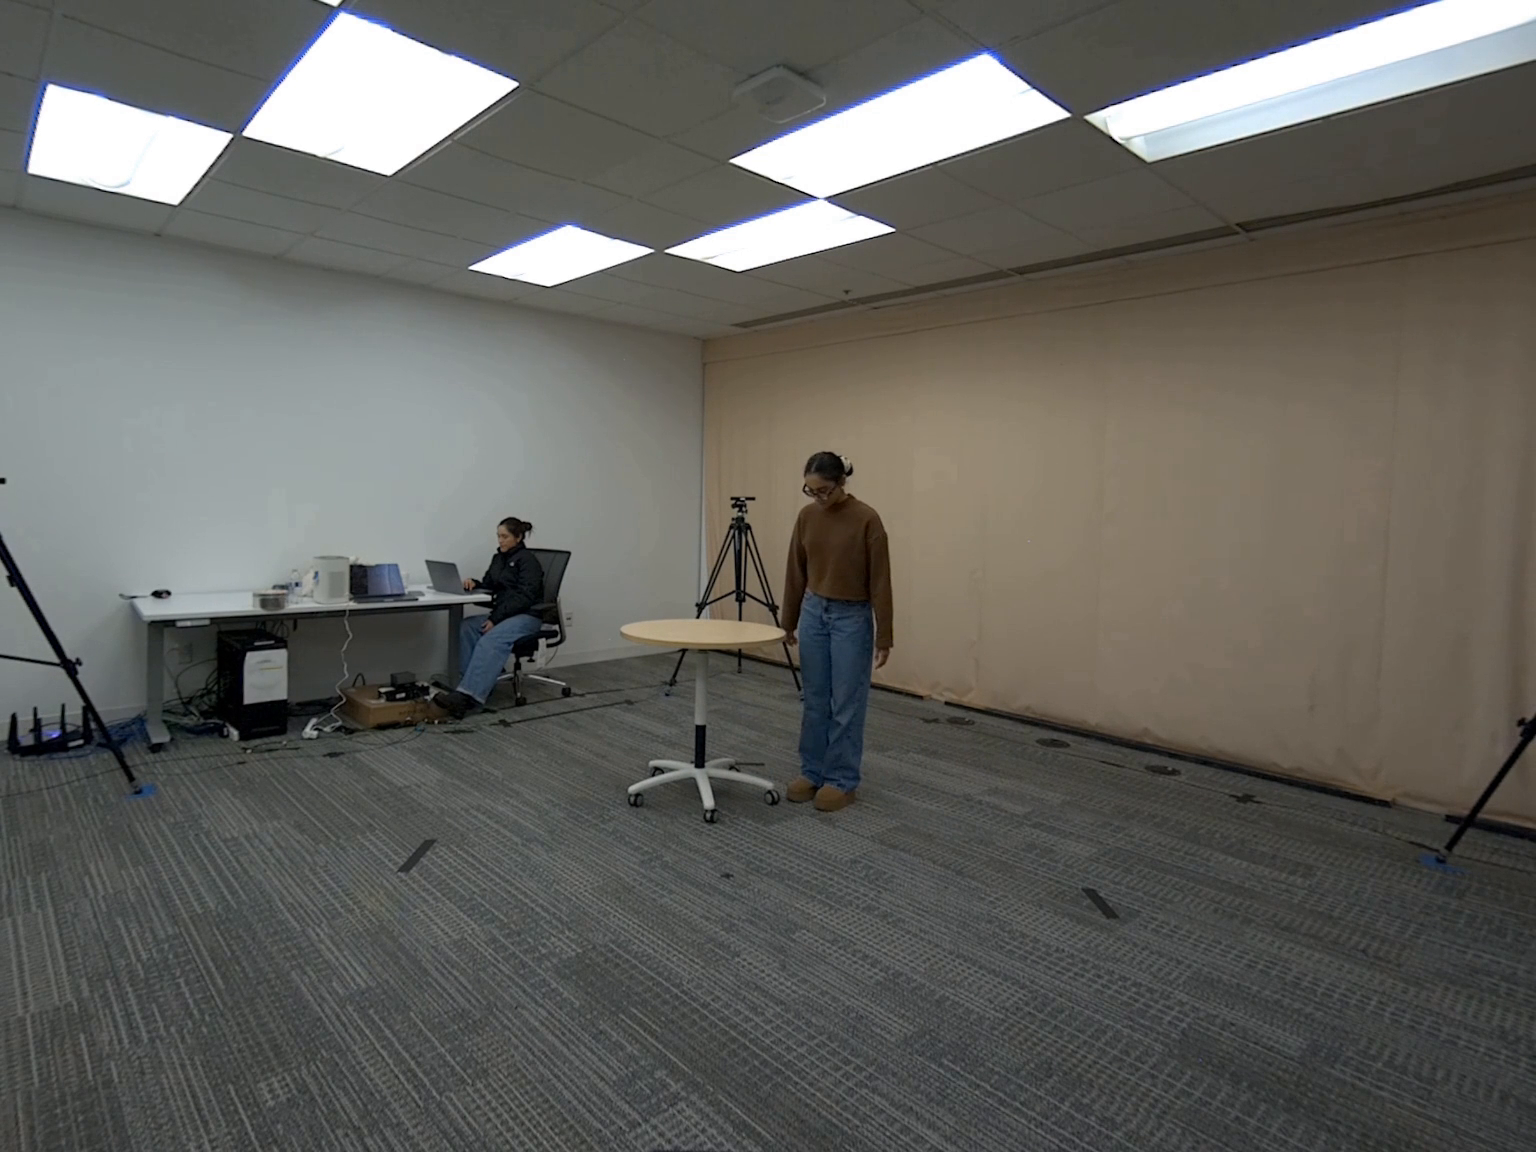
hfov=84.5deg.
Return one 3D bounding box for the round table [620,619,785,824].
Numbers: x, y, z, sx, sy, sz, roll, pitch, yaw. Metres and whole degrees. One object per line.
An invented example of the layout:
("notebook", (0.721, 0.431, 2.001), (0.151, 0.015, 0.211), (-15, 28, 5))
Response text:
("round table", (-0.325, 0.644, 3.916), (0.763, 0.792, 0.766), (2, 3, -1))
